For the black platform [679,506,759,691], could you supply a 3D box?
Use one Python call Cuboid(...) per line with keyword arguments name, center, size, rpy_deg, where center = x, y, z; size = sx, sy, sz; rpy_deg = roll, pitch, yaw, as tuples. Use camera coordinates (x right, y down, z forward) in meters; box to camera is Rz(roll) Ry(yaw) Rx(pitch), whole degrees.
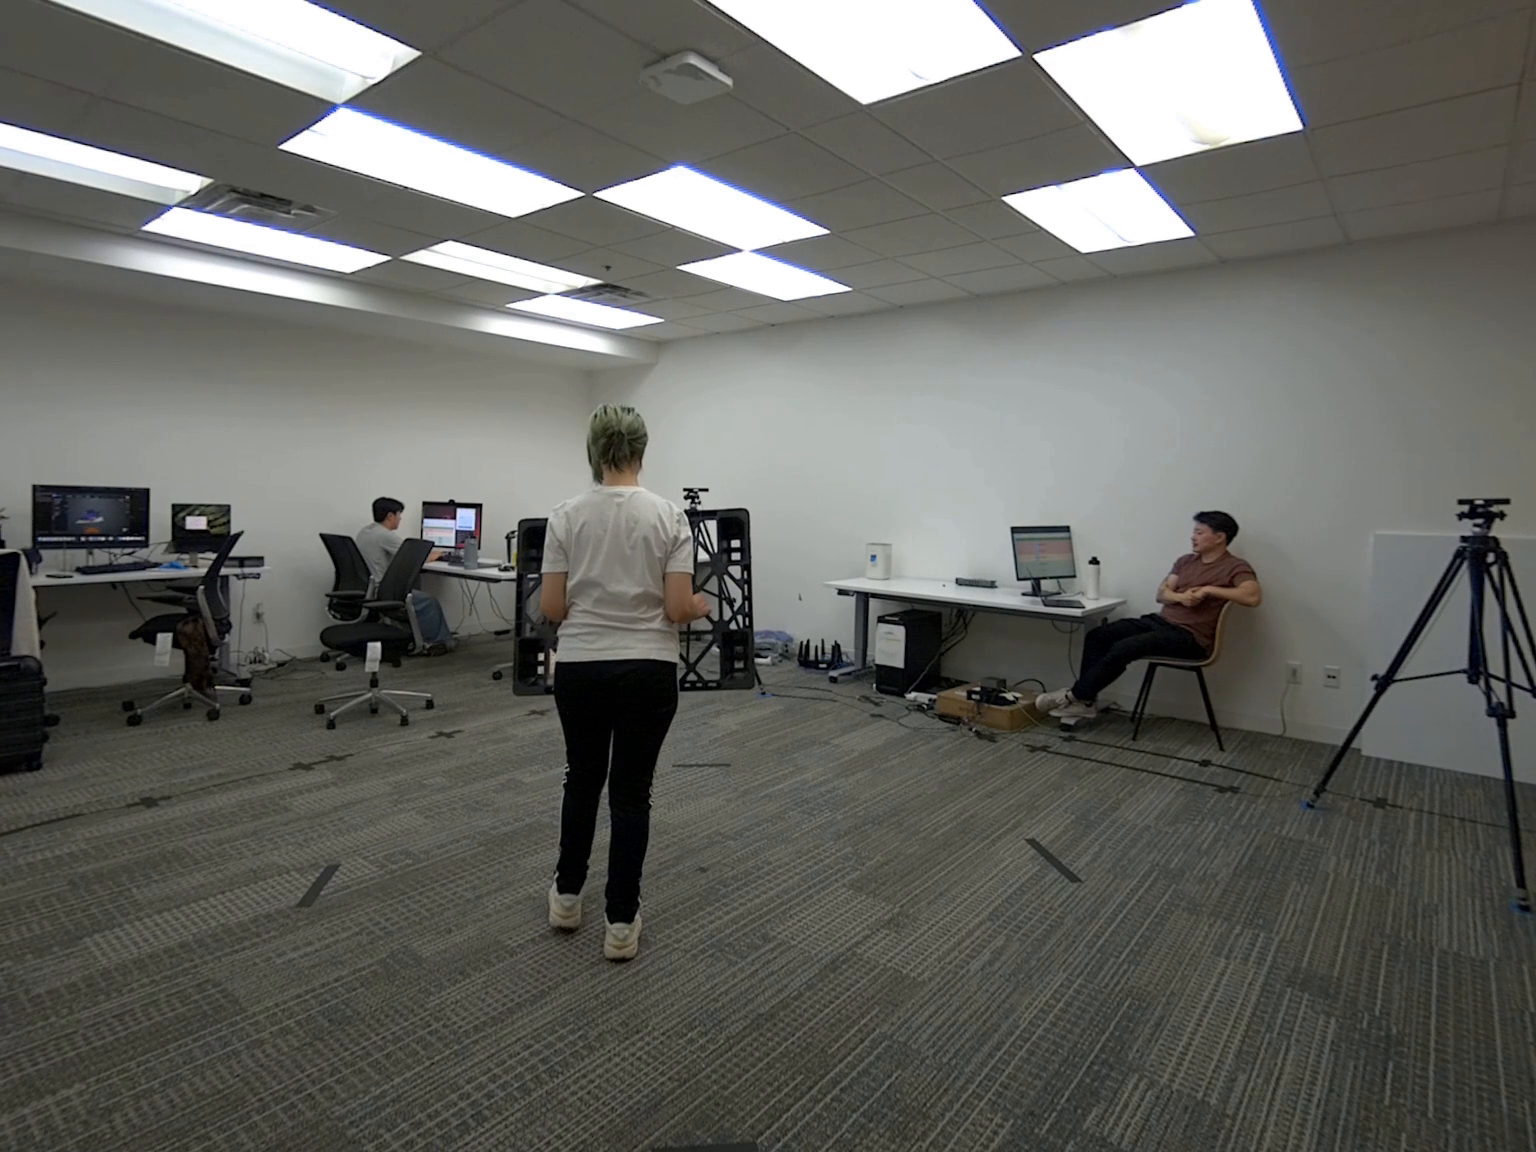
Cuboid(name="black platform", center=(-0.456, 0.099, 2.871), size=(0.810, 0.612, 0.141), rpy_deg=(-3, -12, 6))
